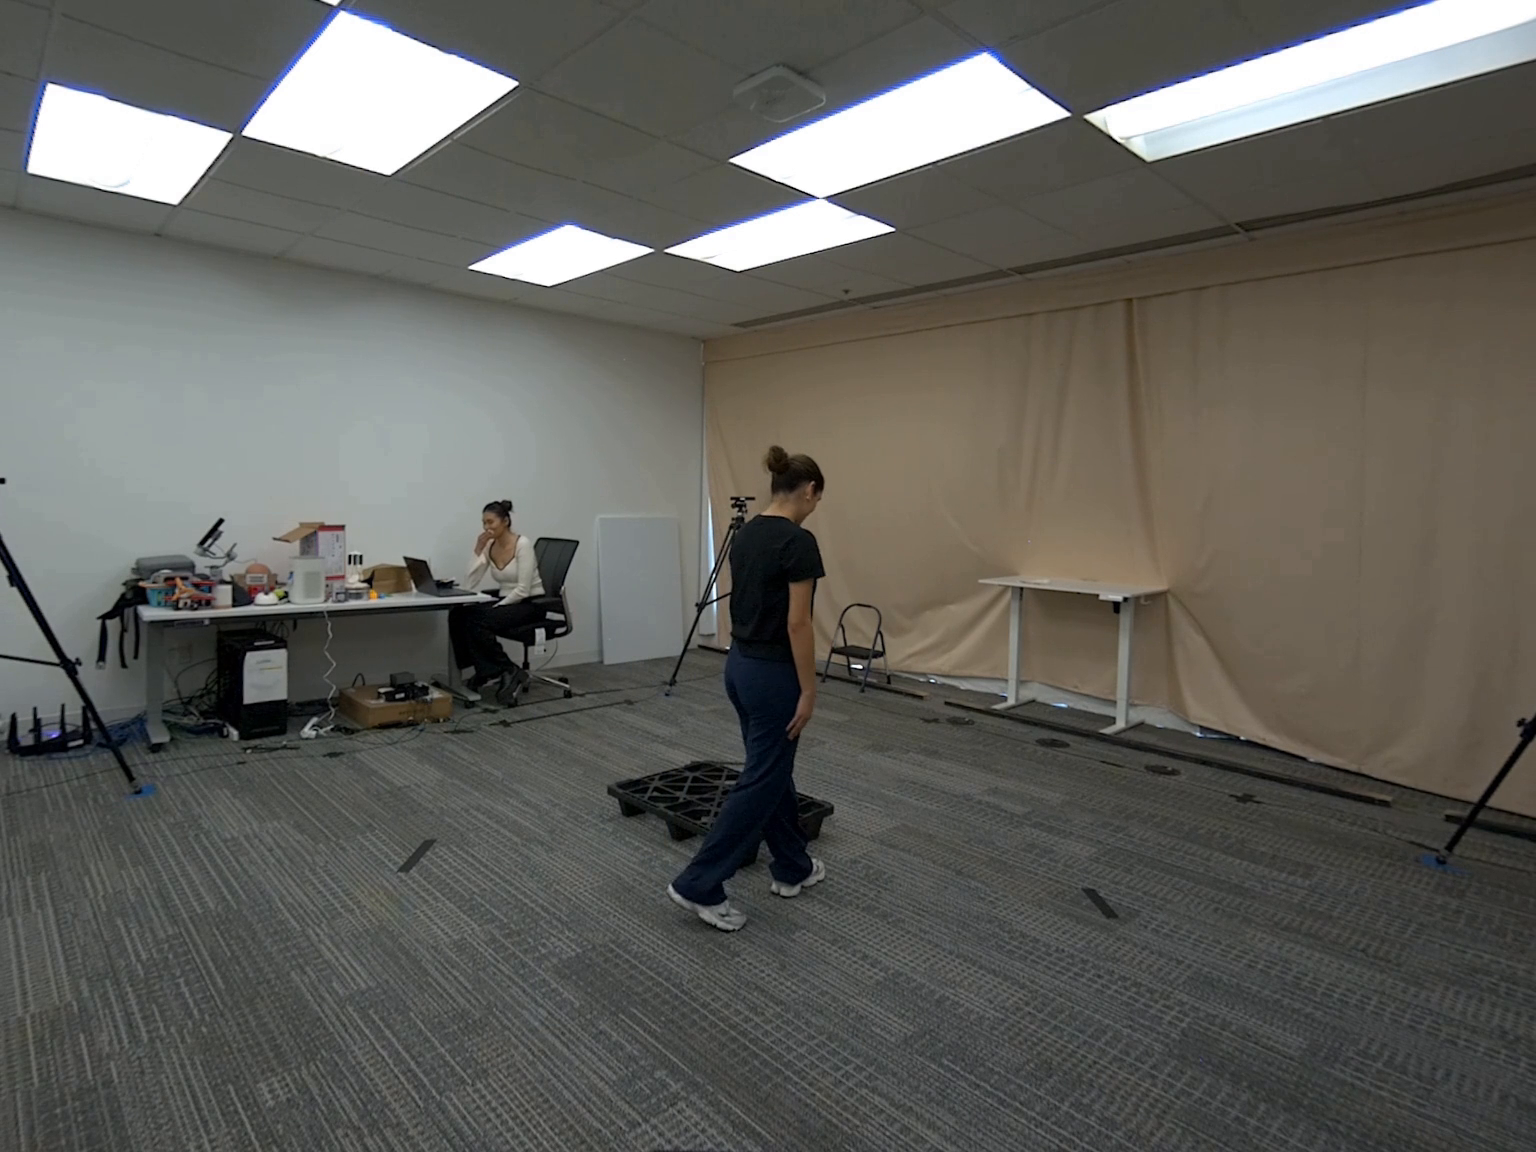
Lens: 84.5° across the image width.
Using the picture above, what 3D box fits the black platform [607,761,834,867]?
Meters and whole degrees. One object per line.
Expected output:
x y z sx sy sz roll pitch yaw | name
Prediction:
-0.219 0.999 3.561 0.826 0.143 0.591 6 7 45 | black platform
